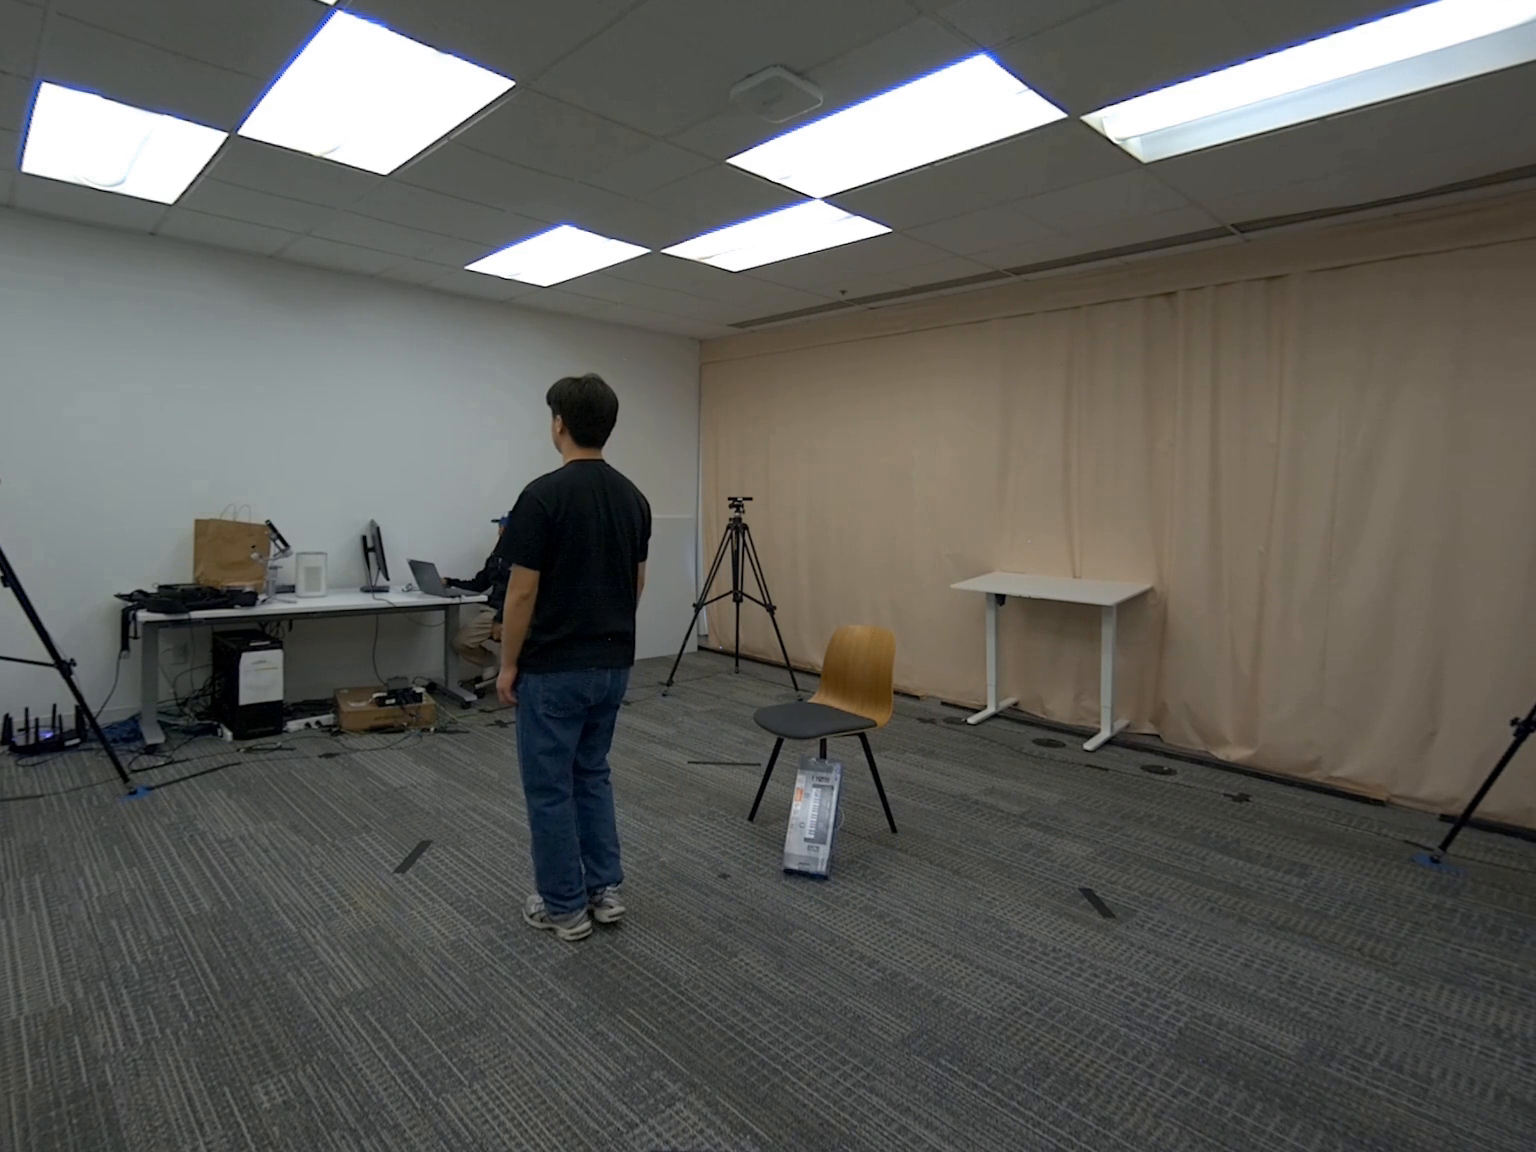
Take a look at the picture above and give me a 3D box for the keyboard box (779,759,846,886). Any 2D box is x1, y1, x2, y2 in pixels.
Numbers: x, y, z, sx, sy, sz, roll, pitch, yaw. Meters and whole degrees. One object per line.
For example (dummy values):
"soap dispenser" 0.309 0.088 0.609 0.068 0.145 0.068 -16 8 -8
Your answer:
"keyboard box" 0.172 0.927 3.220 0.178 0.443 0.057 2 -35 16
